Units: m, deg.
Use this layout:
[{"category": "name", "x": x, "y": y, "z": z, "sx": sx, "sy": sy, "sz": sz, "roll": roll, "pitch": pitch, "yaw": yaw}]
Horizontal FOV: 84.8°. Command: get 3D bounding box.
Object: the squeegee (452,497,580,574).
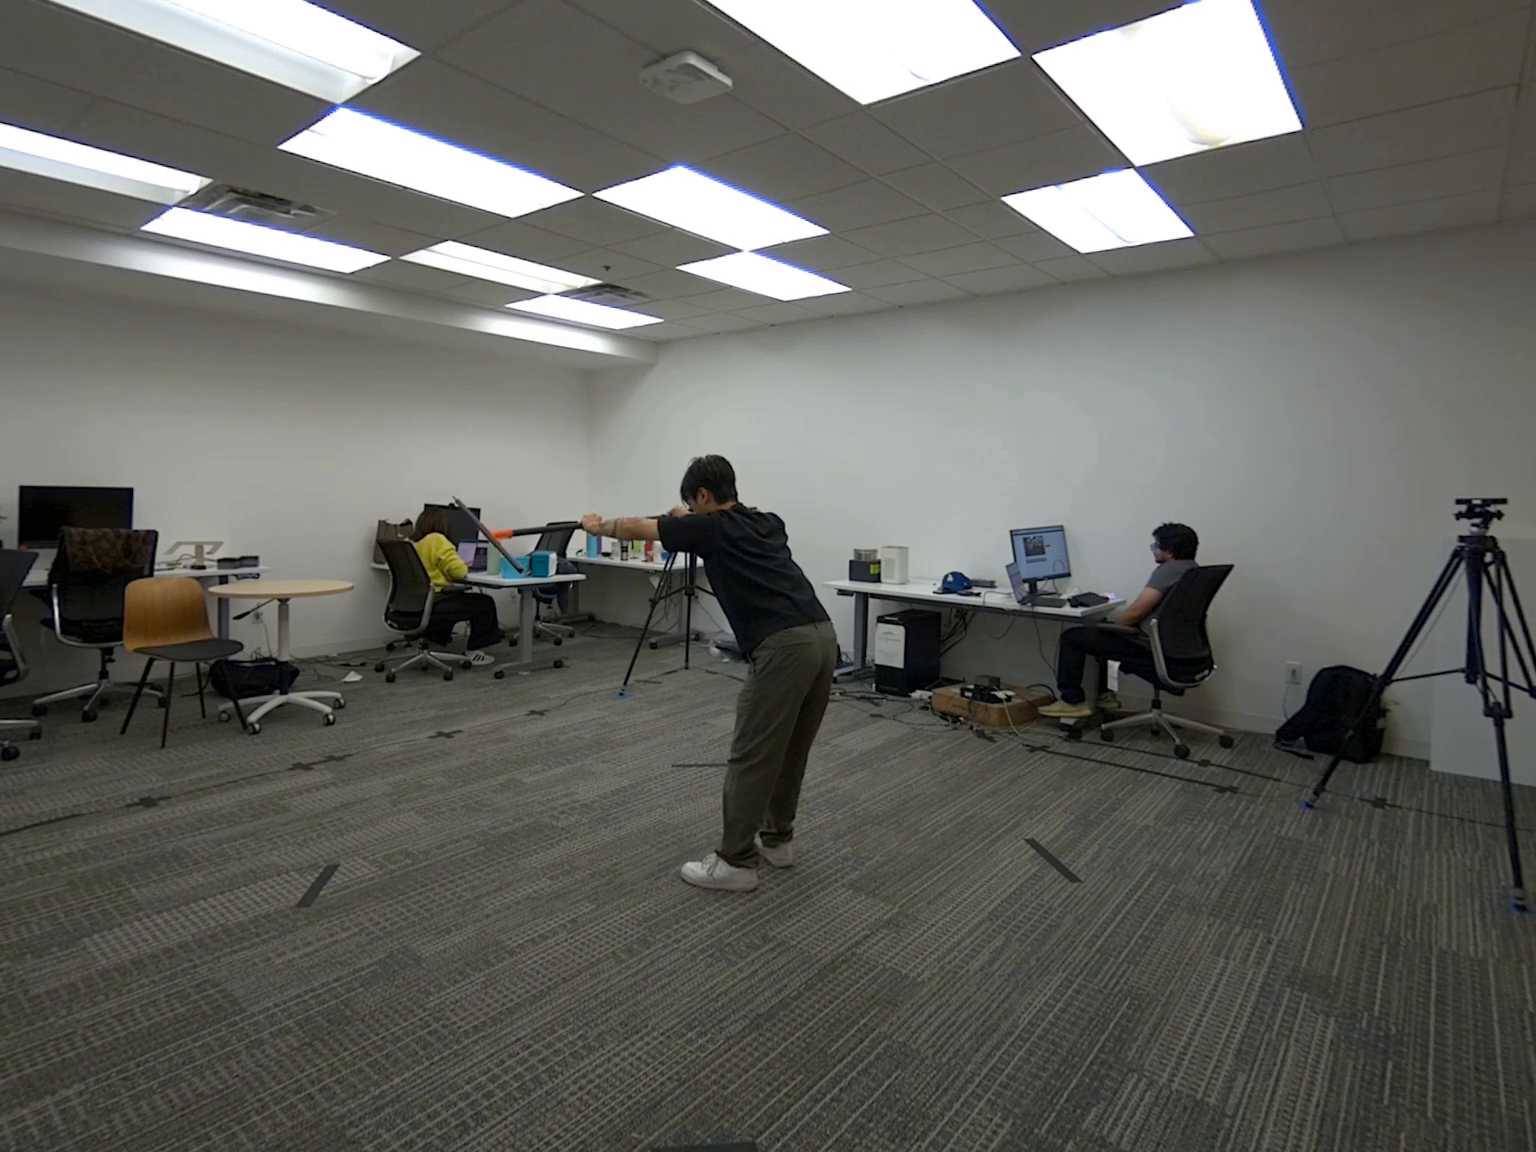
[{"category": "squeegee", "x": -0.529, "y": -0.226, "z": 3.513, "sx": 0.454, "sy": 0.052, "sz": 1.494, "roll": 40, "pitch": 29, "yaw": 30}]
